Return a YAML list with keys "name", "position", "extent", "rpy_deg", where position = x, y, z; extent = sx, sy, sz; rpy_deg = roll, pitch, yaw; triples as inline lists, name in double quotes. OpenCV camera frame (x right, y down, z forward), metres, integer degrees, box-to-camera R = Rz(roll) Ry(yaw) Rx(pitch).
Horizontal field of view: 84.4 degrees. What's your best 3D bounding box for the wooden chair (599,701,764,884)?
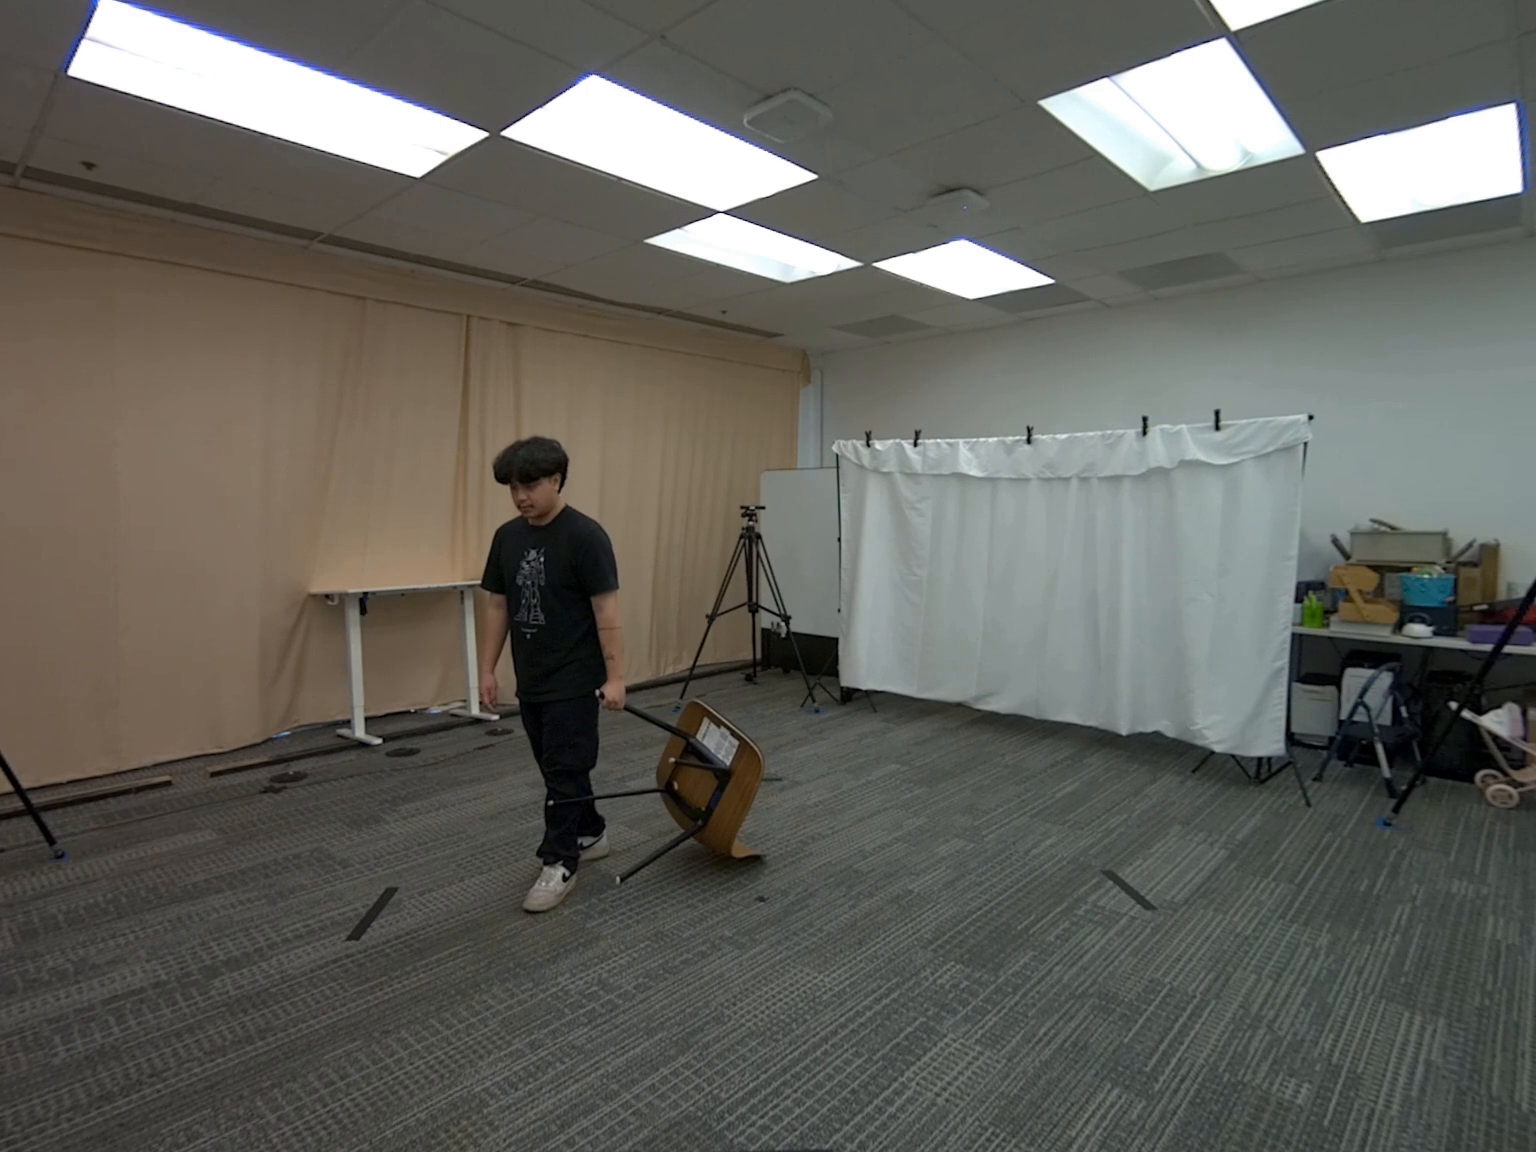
- name: "wooden chair"
  position: [-0.267, 0.763, 3.110]
  extent: [0.496, 0.523, 0.845]
  rpy_deg: [30, 5, 41]
